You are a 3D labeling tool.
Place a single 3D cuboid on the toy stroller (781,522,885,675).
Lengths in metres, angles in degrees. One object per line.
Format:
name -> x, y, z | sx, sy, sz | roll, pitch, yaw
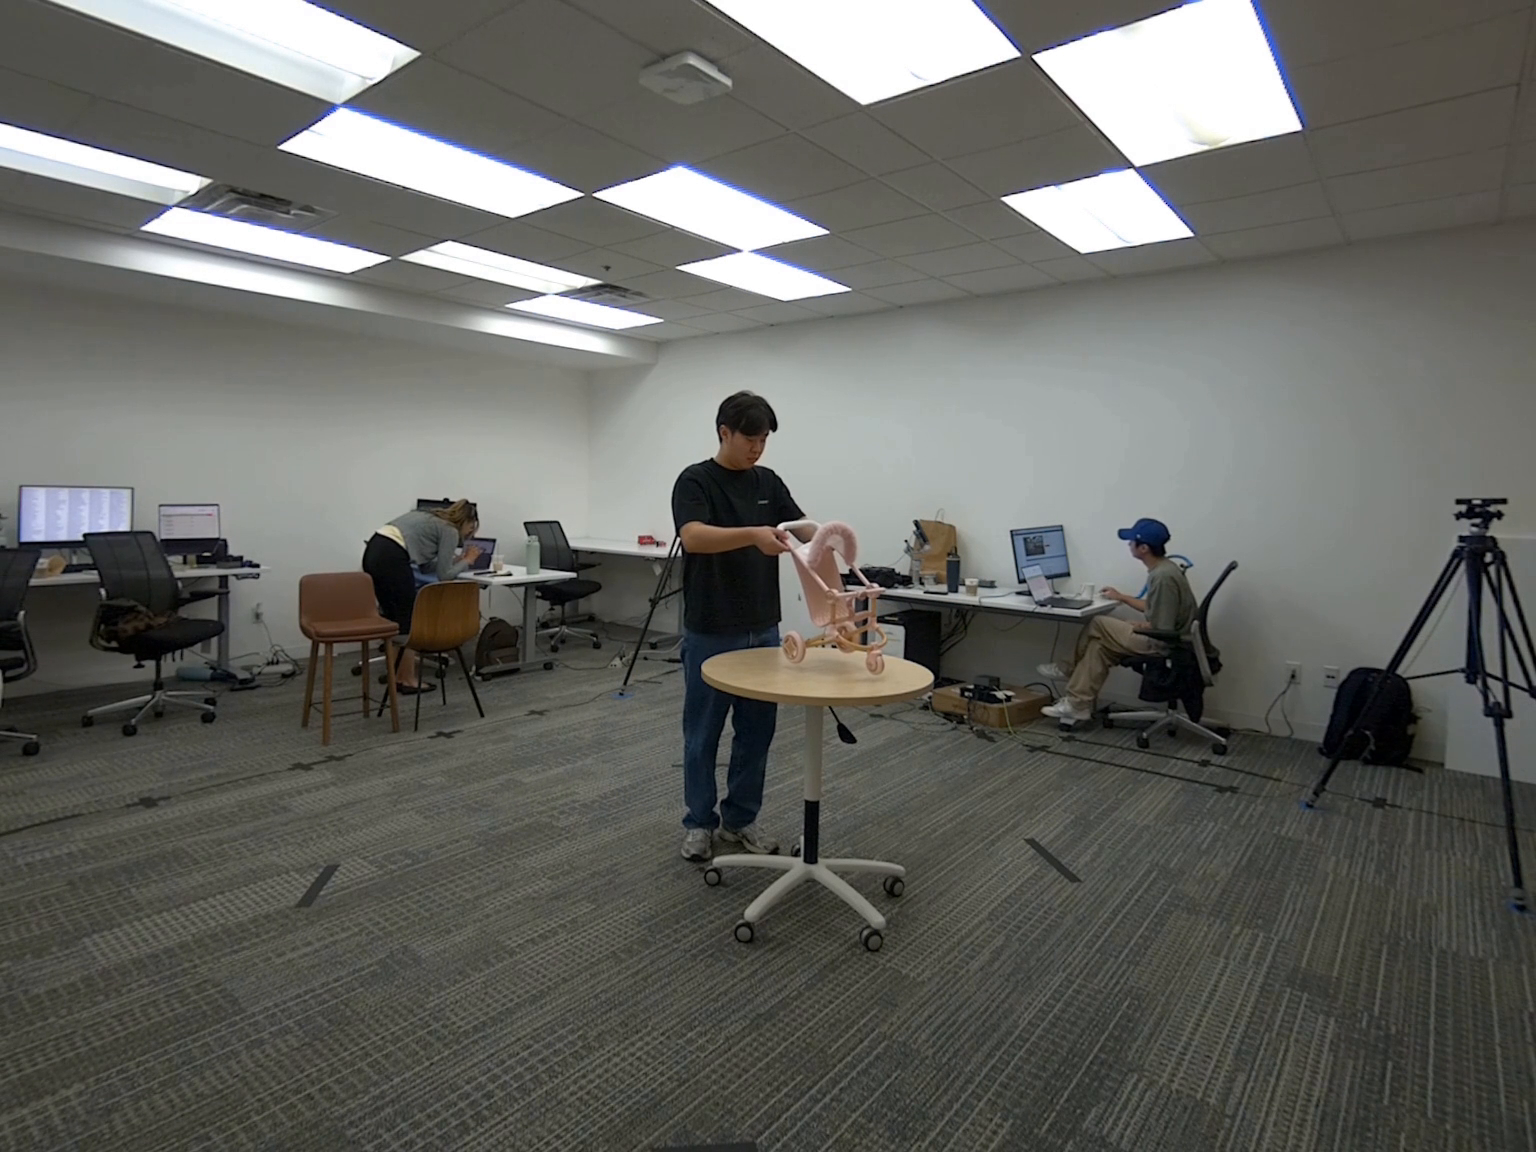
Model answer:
toy stroller -> 0.211, 0.059, 2.811 | 0.274, 0.538, 0.349 | -4, -6, -33
